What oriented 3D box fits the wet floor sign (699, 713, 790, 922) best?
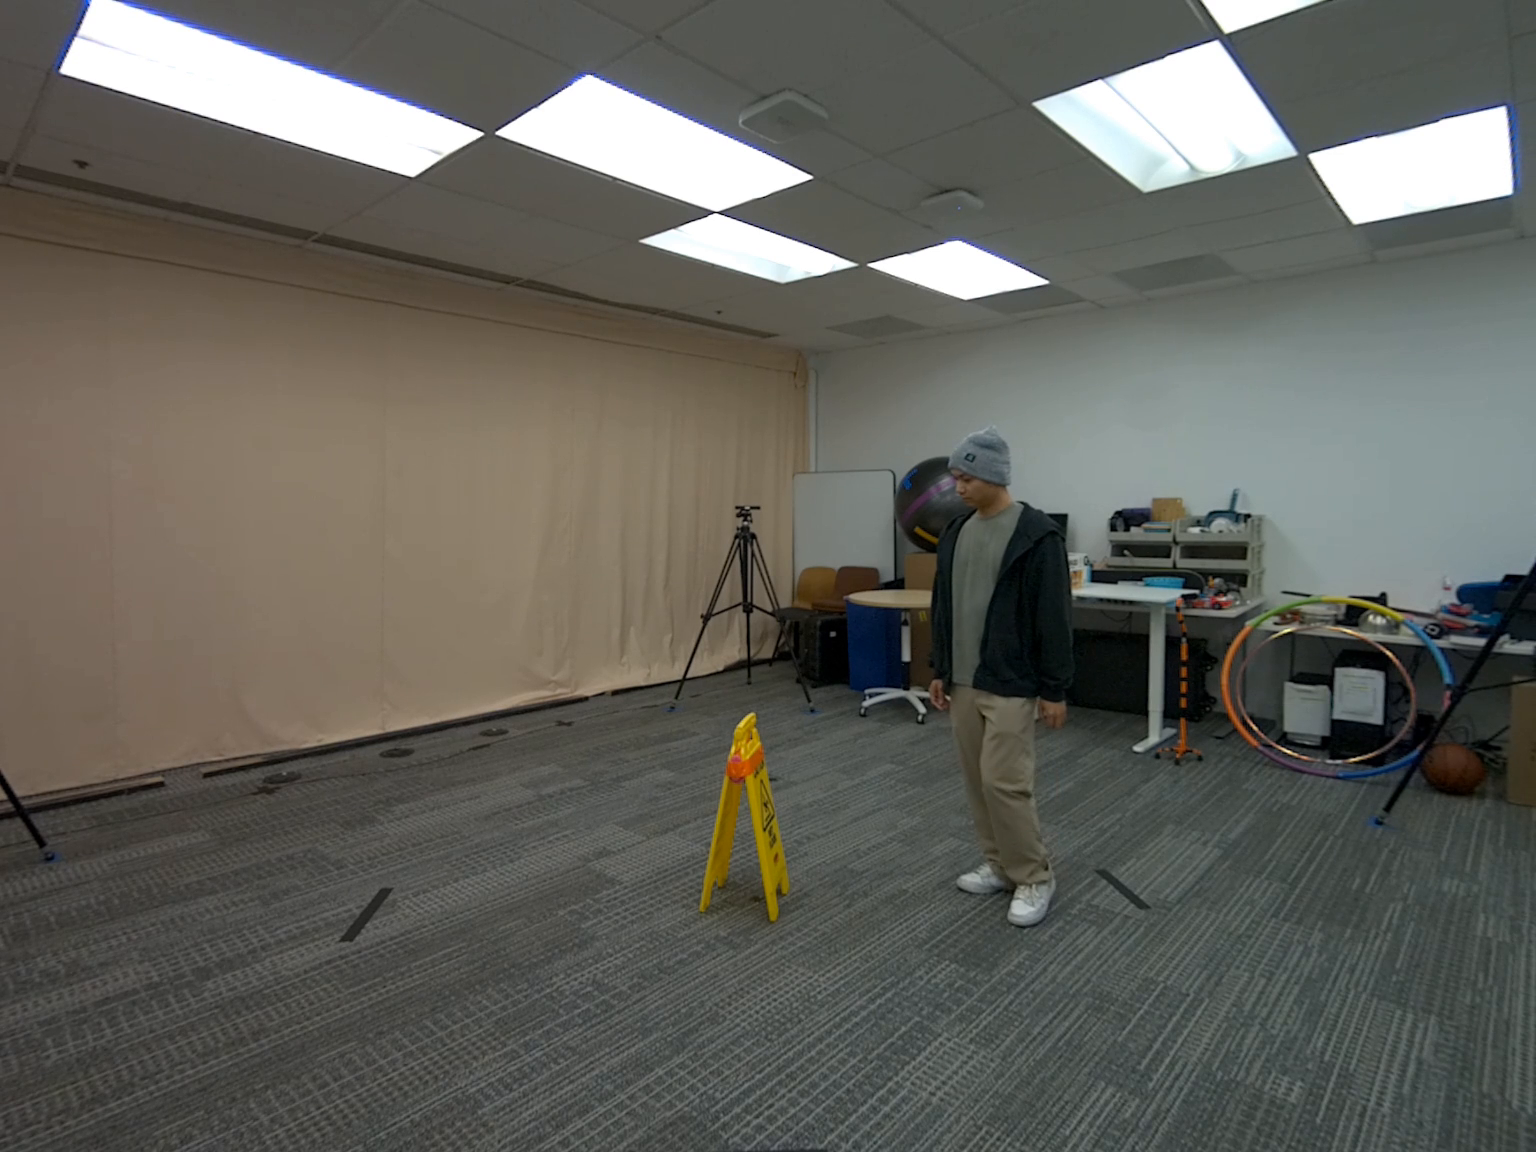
[{"bbox_3d":[-0.077,0.824,2.964,0.294,0.645,0.278,0,2,15],"label":"wet floor sign"}]
